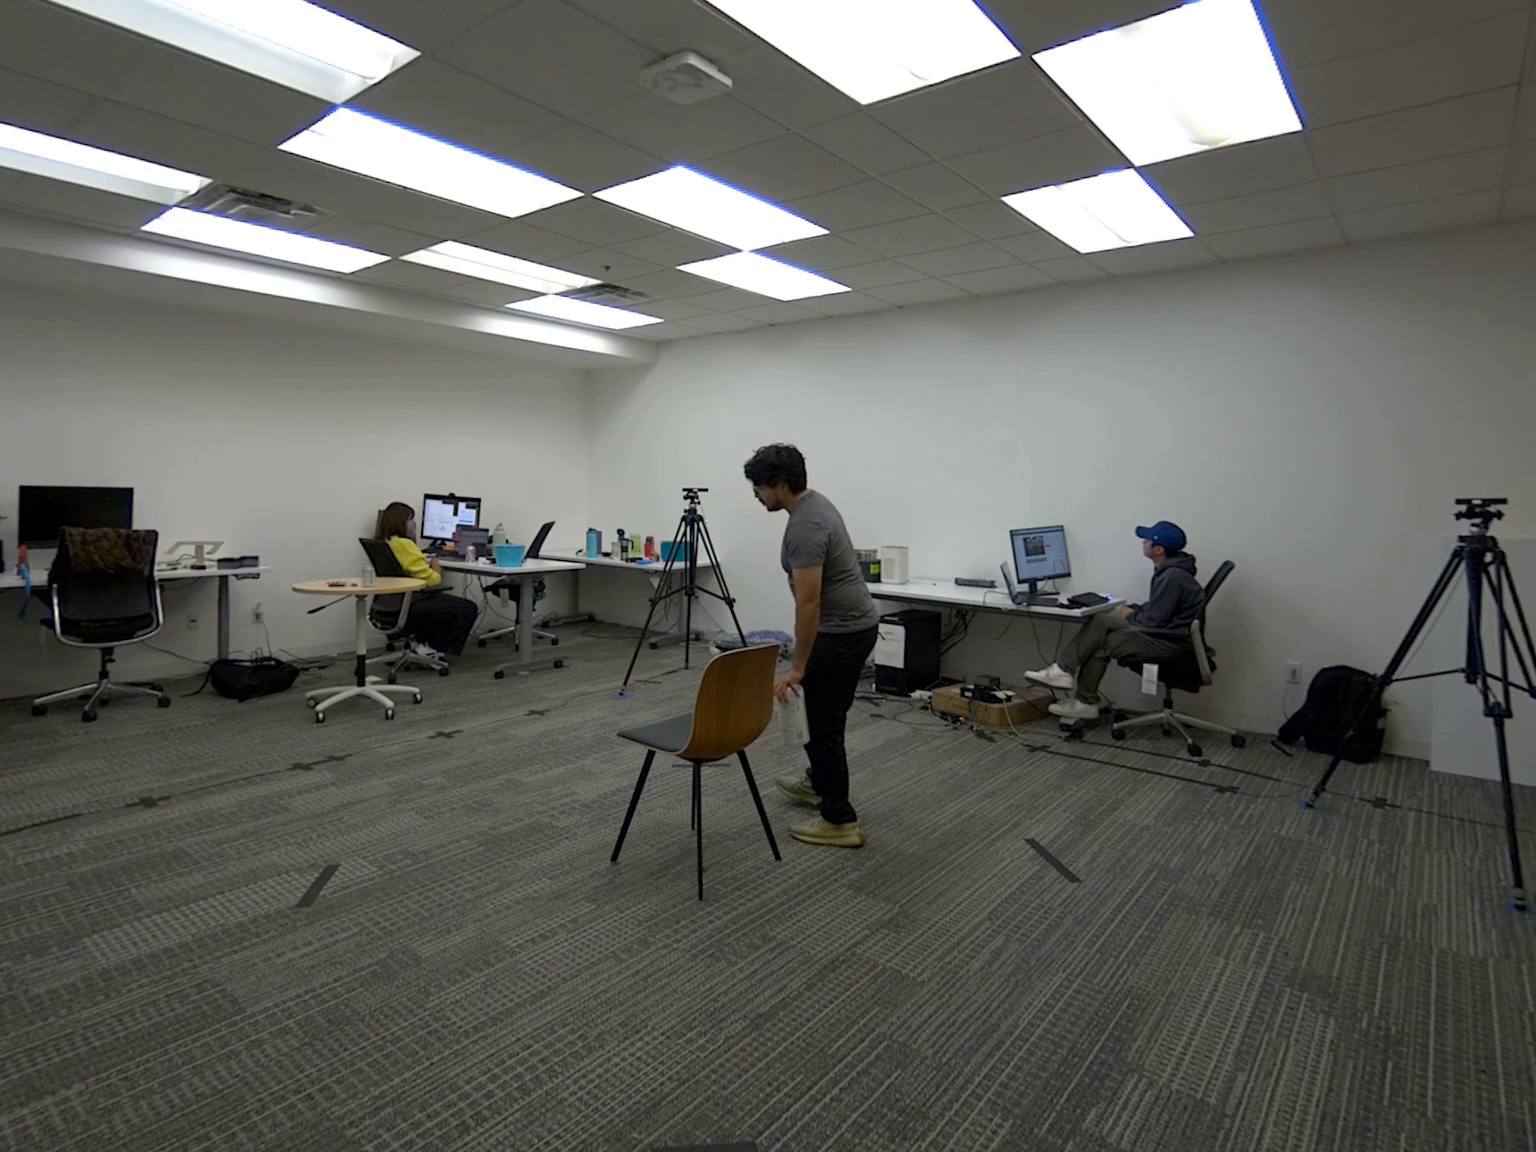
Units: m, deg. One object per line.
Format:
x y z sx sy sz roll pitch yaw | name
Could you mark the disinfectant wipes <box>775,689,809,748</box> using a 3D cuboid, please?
0.090 0.531 3.276 0.118 0.215 0.119 -8 10 0 | disinfectant wipes
